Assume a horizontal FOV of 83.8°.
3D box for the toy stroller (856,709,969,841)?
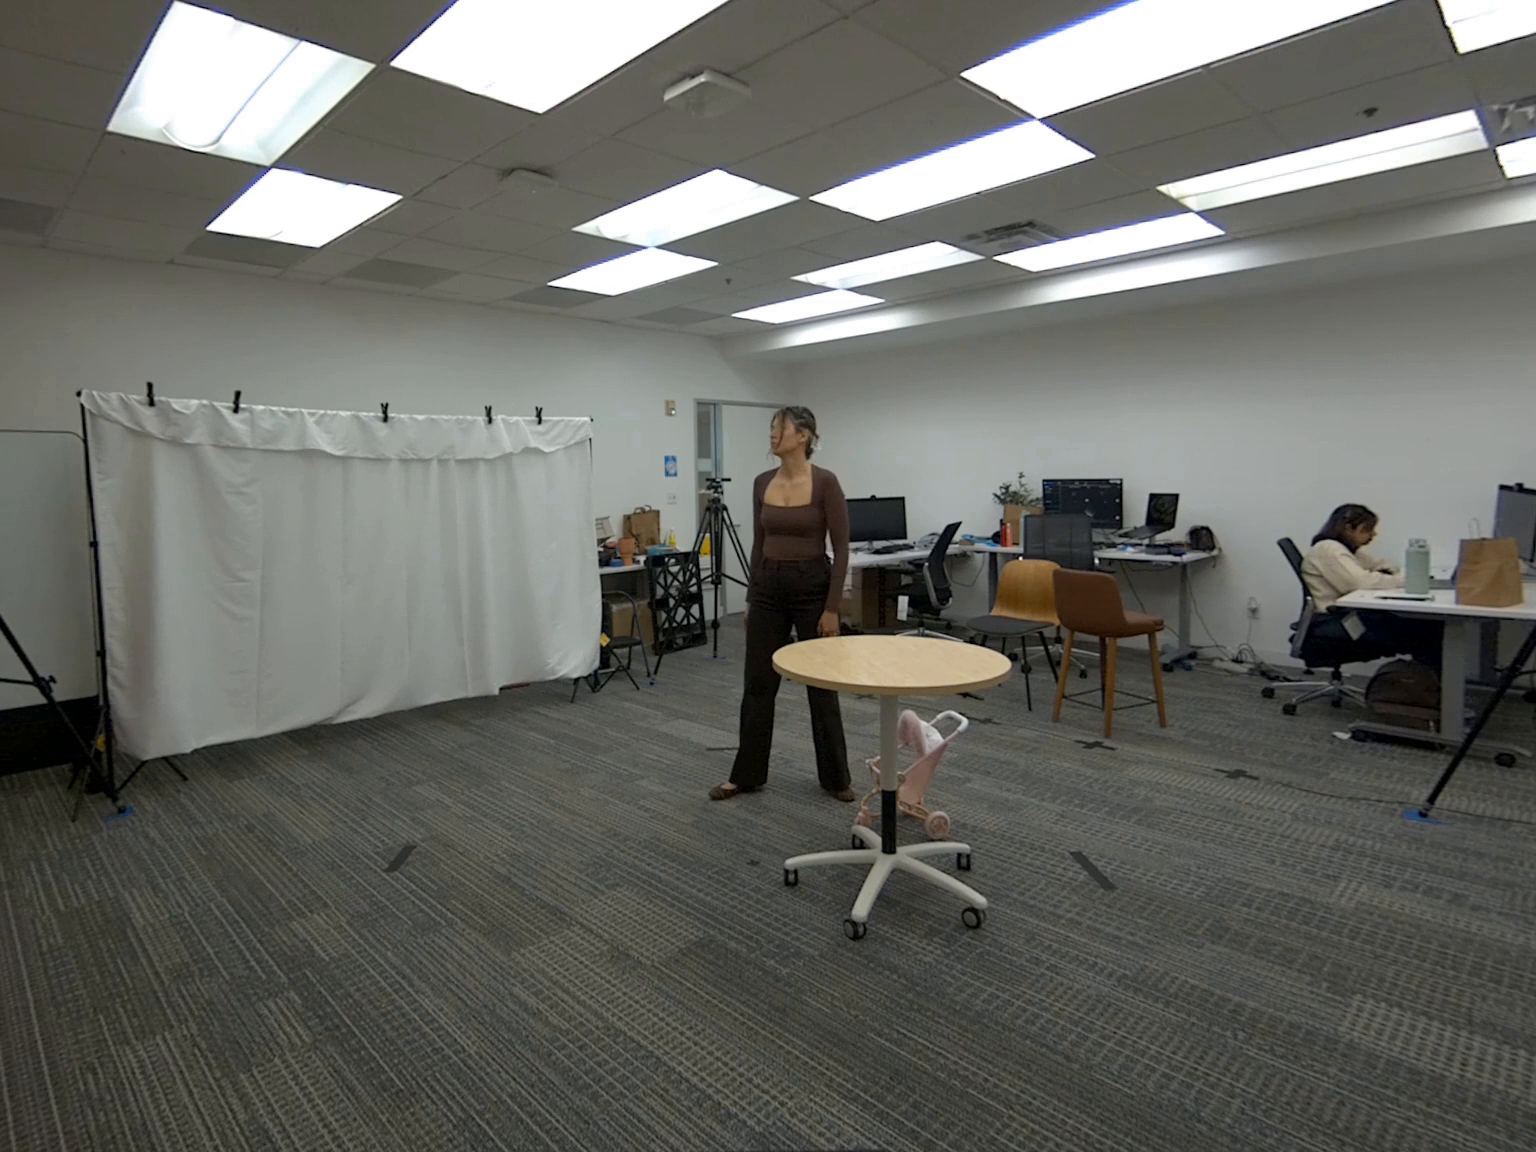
[{"bbox_3d":[0.553,0.774,3.377,0.338,0.534,0.284,13,1,-9],"label":"toy stroller"}]
